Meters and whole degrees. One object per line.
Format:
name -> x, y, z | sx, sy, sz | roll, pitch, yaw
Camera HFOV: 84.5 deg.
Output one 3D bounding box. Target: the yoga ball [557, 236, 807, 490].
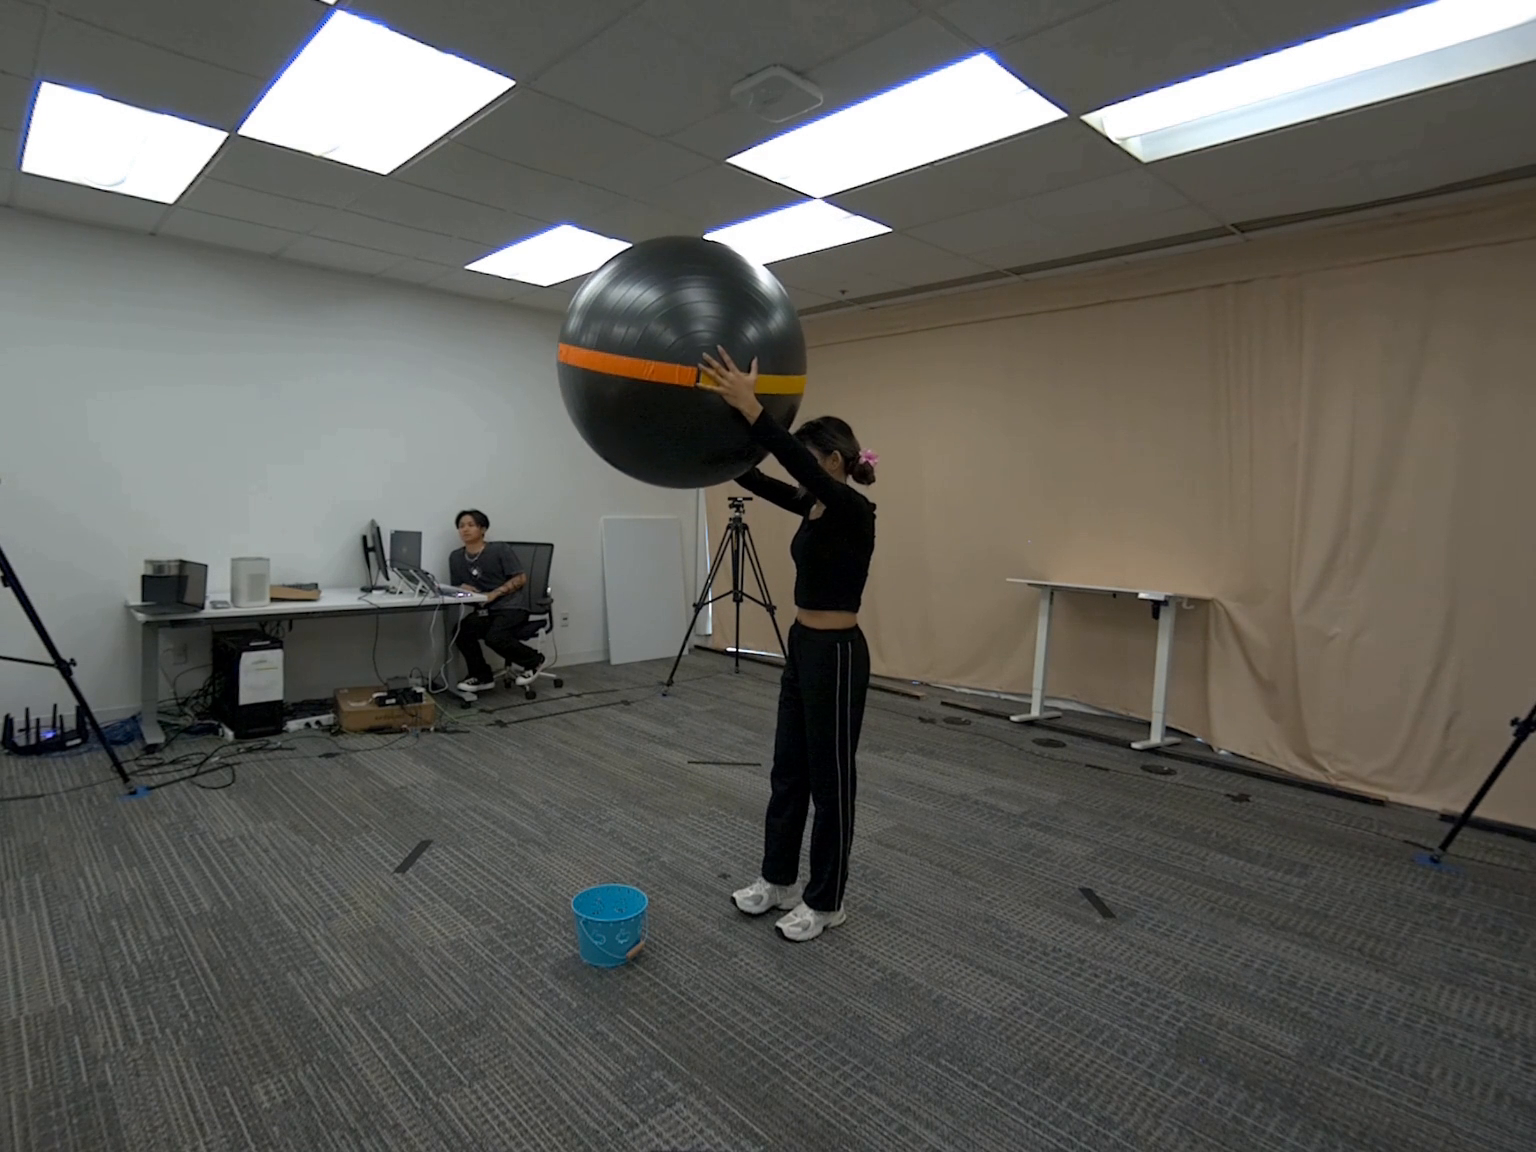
yoga ball -> -0.266, -0.638, 2.584 | 0.757, 0.756, 0.761 | 1, 4, -1
